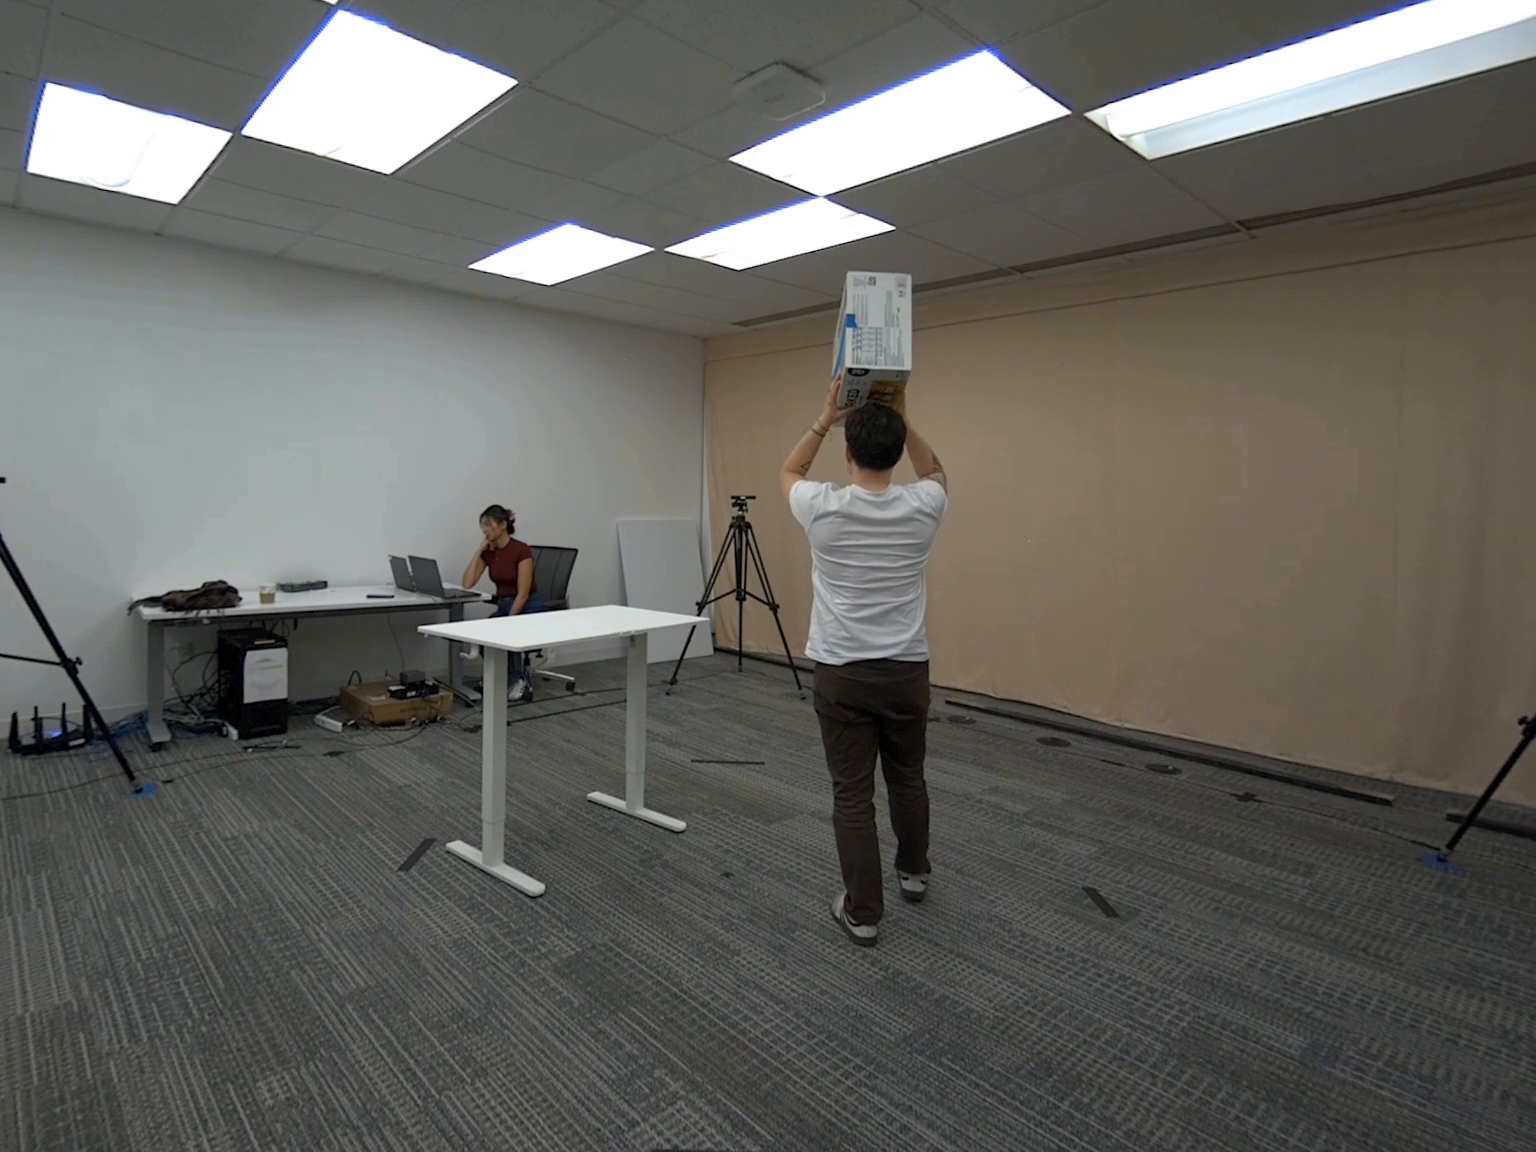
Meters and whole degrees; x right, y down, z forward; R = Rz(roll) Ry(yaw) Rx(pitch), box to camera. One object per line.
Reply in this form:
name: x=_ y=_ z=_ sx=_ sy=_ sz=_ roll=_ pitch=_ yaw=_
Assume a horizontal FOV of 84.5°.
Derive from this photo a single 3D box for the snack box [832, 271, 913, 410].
snack box: x=0.330 y=-0.725 z=2.757 sx=0.206 sy=0.344 sz=0.400 roll=2 pitch=-17 yaw=0
